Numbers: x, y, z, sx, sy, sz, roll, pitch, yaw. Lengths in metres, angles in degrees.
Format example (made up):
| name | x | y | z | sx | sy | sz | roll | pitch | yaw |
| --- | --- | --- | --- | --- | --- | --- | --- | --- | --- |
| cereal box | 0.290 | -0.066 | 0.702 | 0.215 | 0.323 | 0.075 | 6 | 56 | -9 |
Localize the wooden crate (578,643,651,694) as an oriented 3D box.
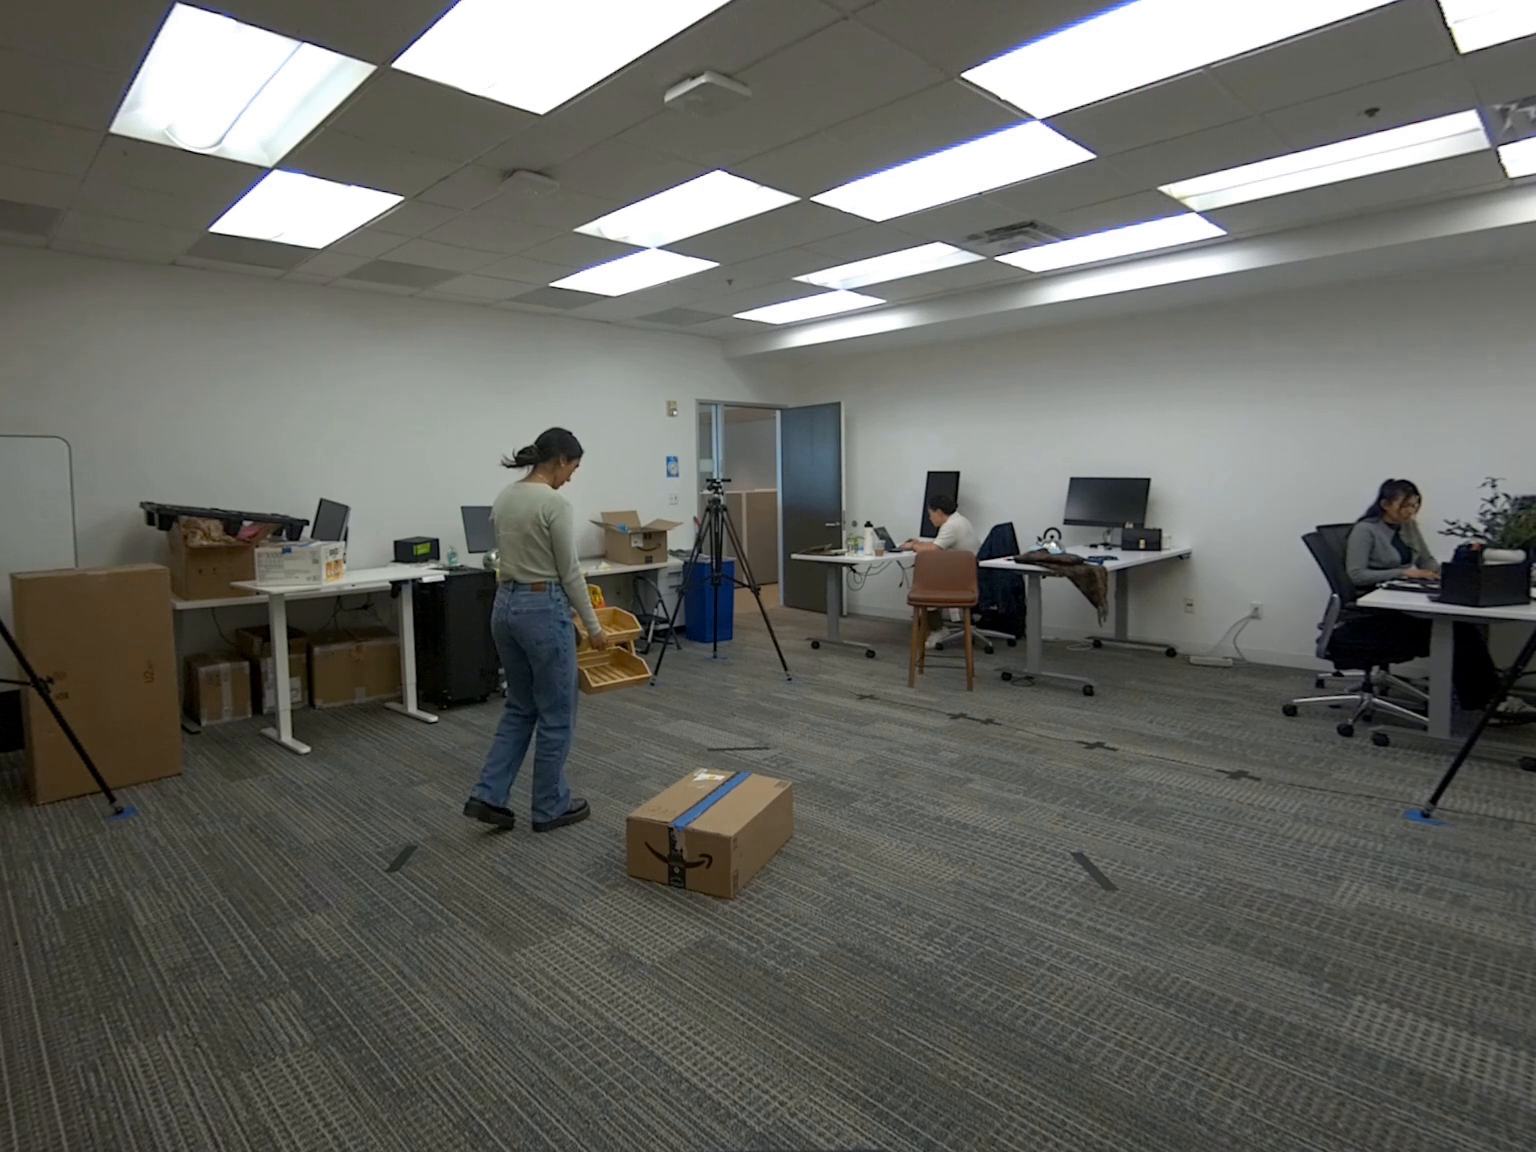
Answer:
| name | x | y | z | sx | sy | sz | roll | pitch | yaw |
| --- | --- | --- | --- | --- | --- | --- | --- | --- | --- |
| wooden crate | -0.684 | 0.303 | 3.590 | 0.316 | 0.271 | 0.313 | -5 | 16 | -43 |
